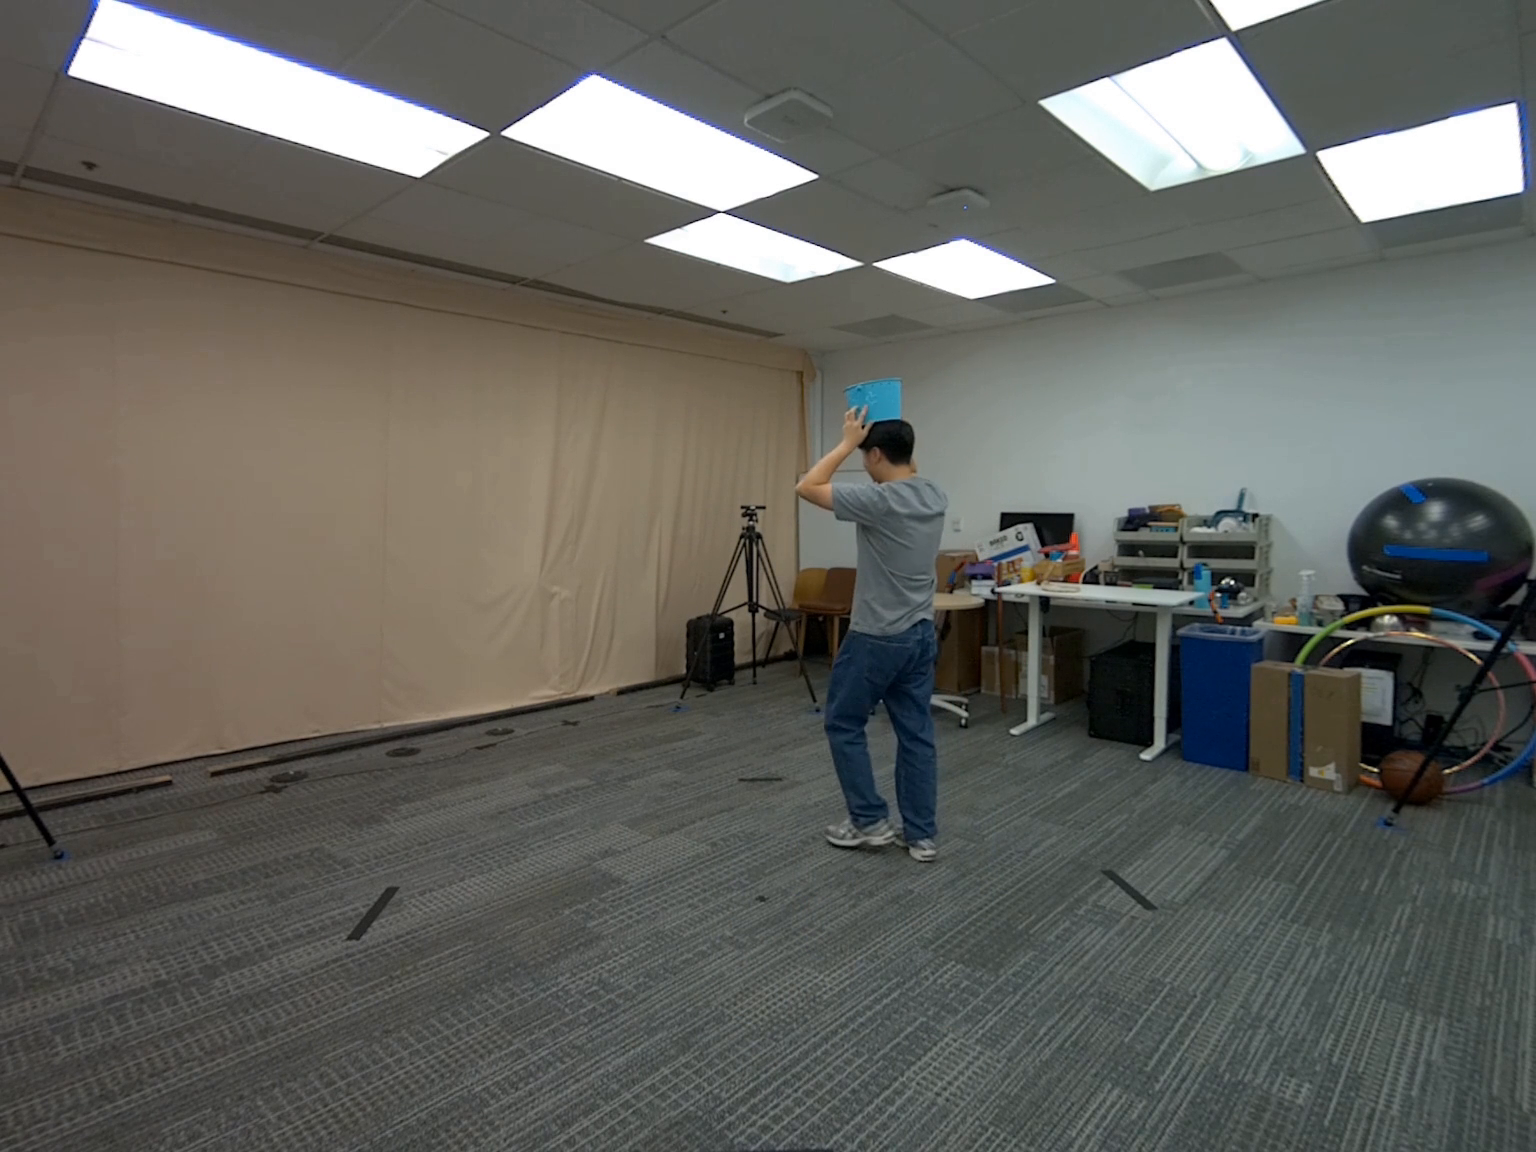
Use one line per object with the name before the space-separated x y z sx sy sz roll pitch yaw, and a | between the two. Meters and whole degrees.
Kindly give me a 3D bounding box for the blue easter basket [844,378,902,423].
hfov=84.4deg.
blue easter basket | 0.434 -0.673 3.321 0.243 0.155 0.244 -7 3 -2
